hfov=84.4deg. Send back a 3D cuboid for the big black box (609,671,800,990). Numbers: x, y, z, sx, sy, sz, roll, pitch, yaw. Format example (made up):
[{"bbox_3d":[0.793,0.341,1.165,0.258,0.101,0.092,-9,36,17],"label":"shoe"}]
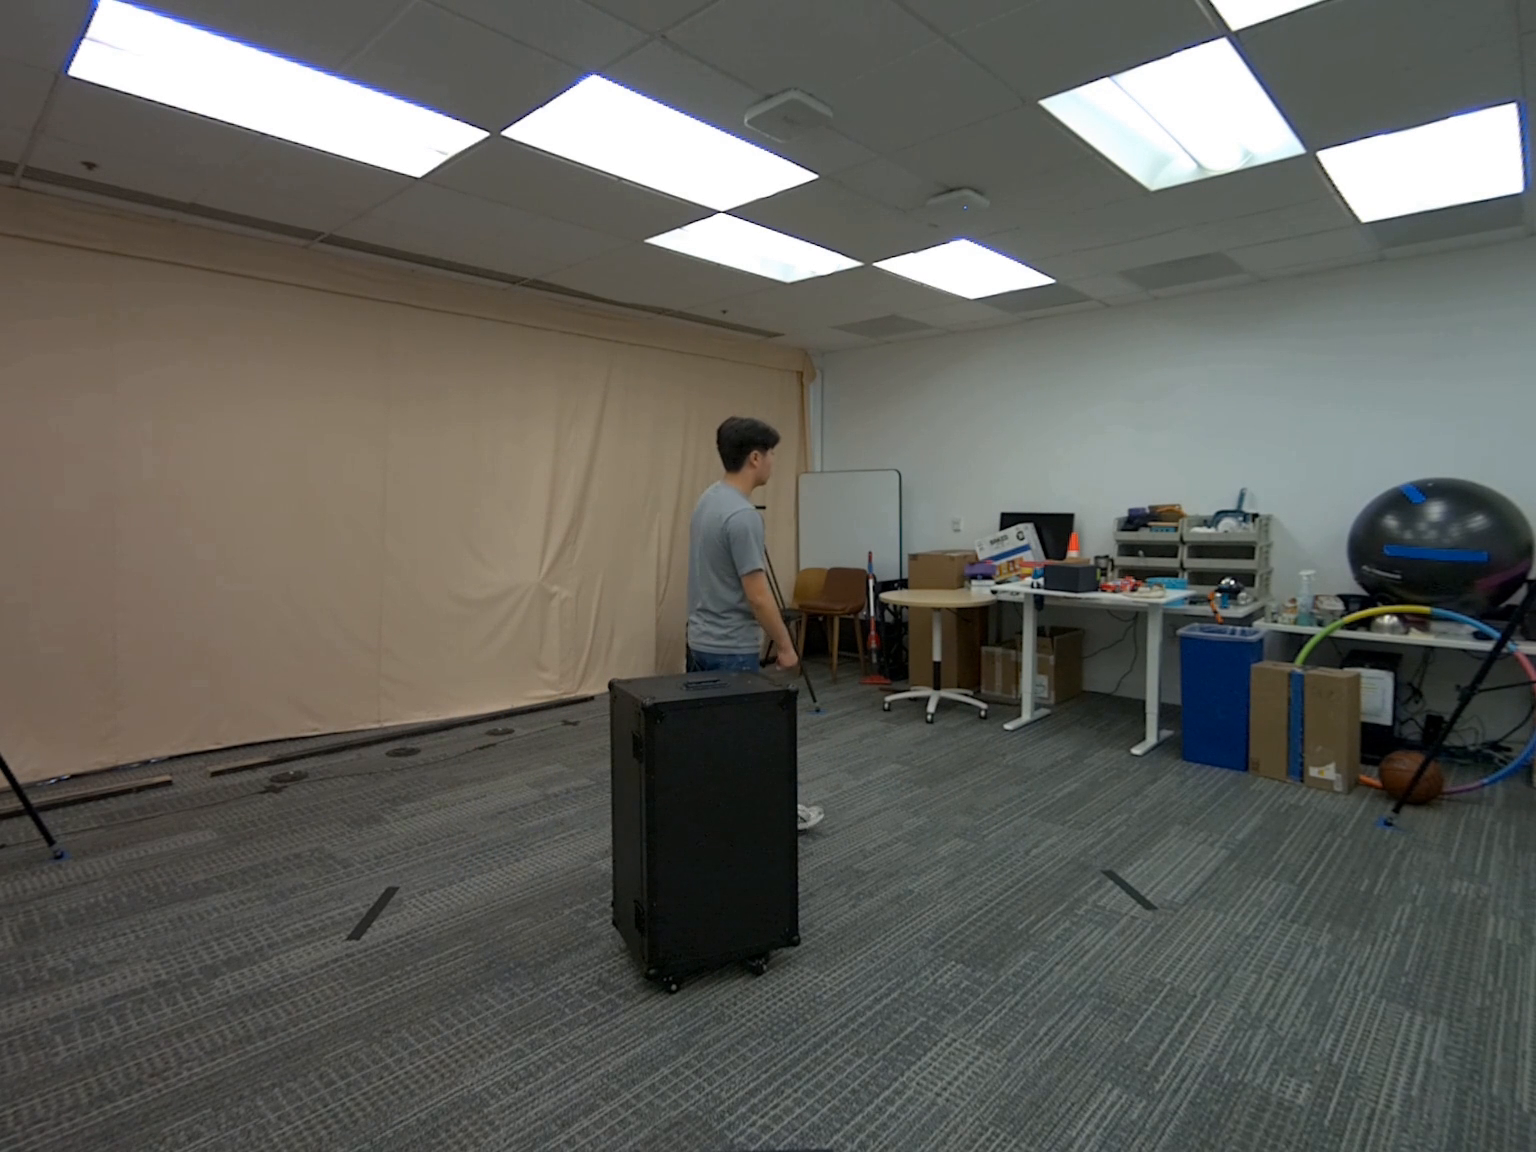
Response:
[{"bbox_3d":[-0.208,0.750,2.590,0.509,0.860,0.406,-2,2,-25],"label":"big black box"}]
